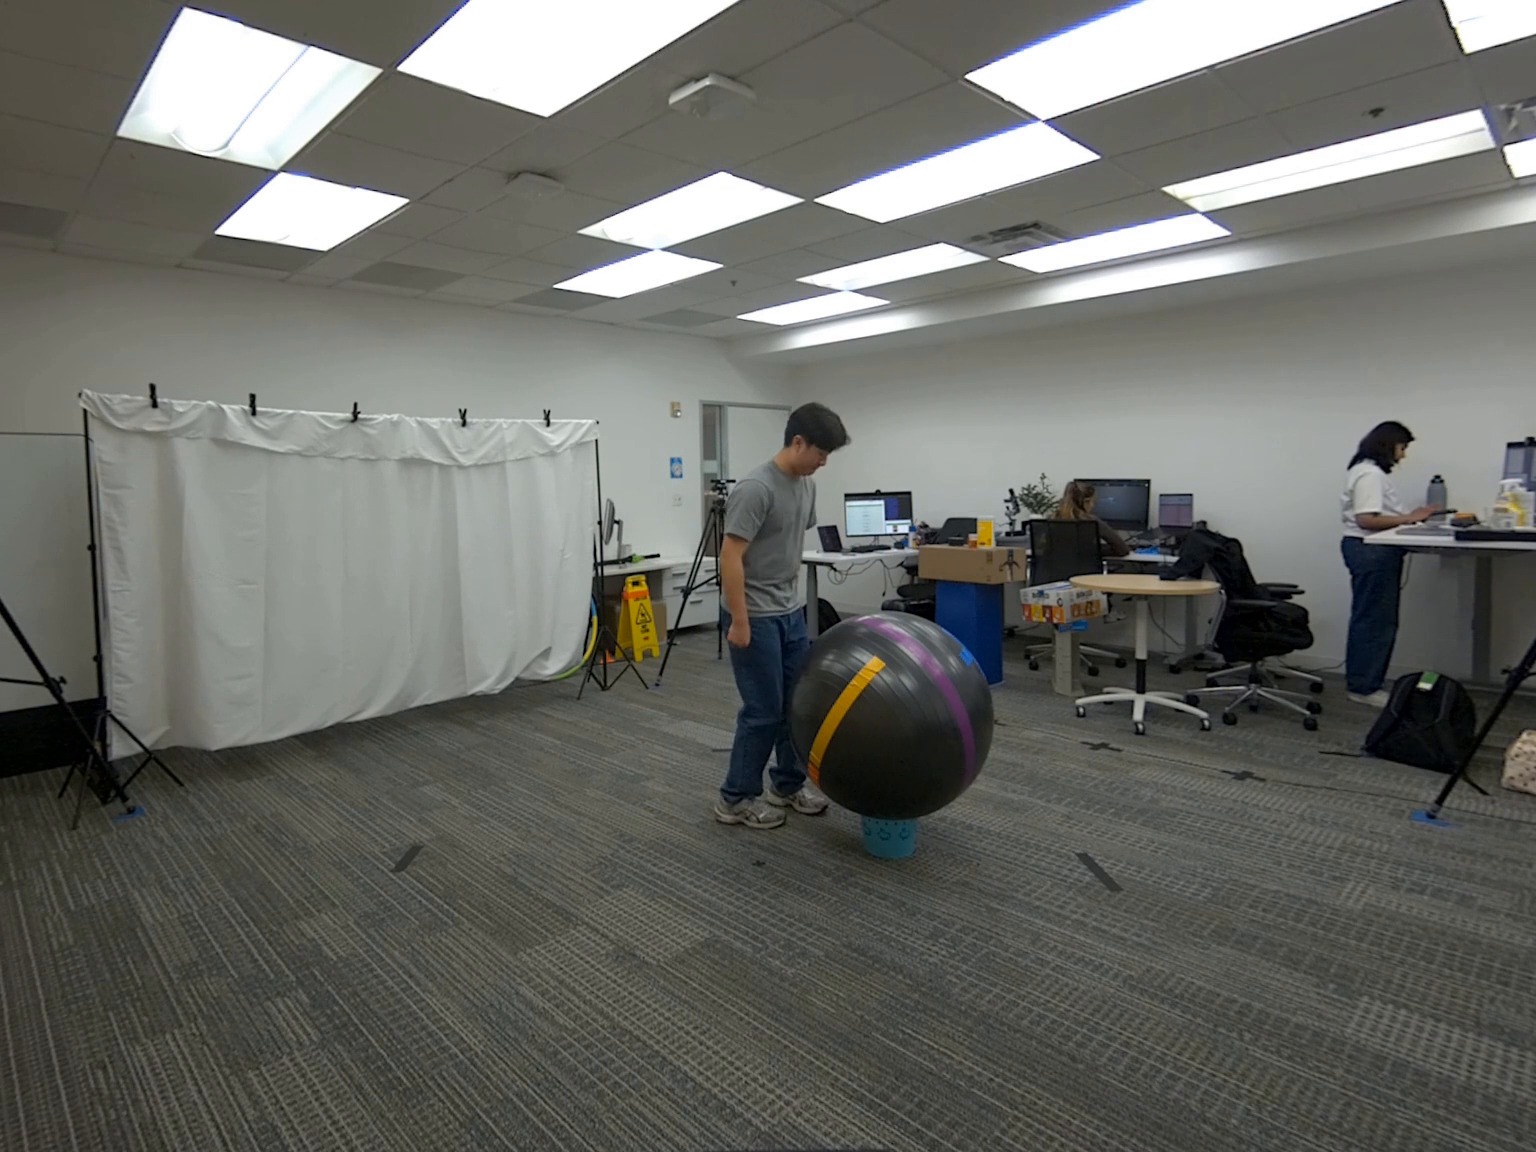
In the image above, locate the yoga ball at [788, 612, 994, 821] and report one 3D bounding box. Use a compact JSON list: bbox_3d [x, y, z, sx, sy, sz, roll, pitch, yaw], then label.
[{"bbox_3d":[0.453,0.518,3.180,0.757,0.755,0.762,-1,5,-2],"label":"yoga ball"}]
